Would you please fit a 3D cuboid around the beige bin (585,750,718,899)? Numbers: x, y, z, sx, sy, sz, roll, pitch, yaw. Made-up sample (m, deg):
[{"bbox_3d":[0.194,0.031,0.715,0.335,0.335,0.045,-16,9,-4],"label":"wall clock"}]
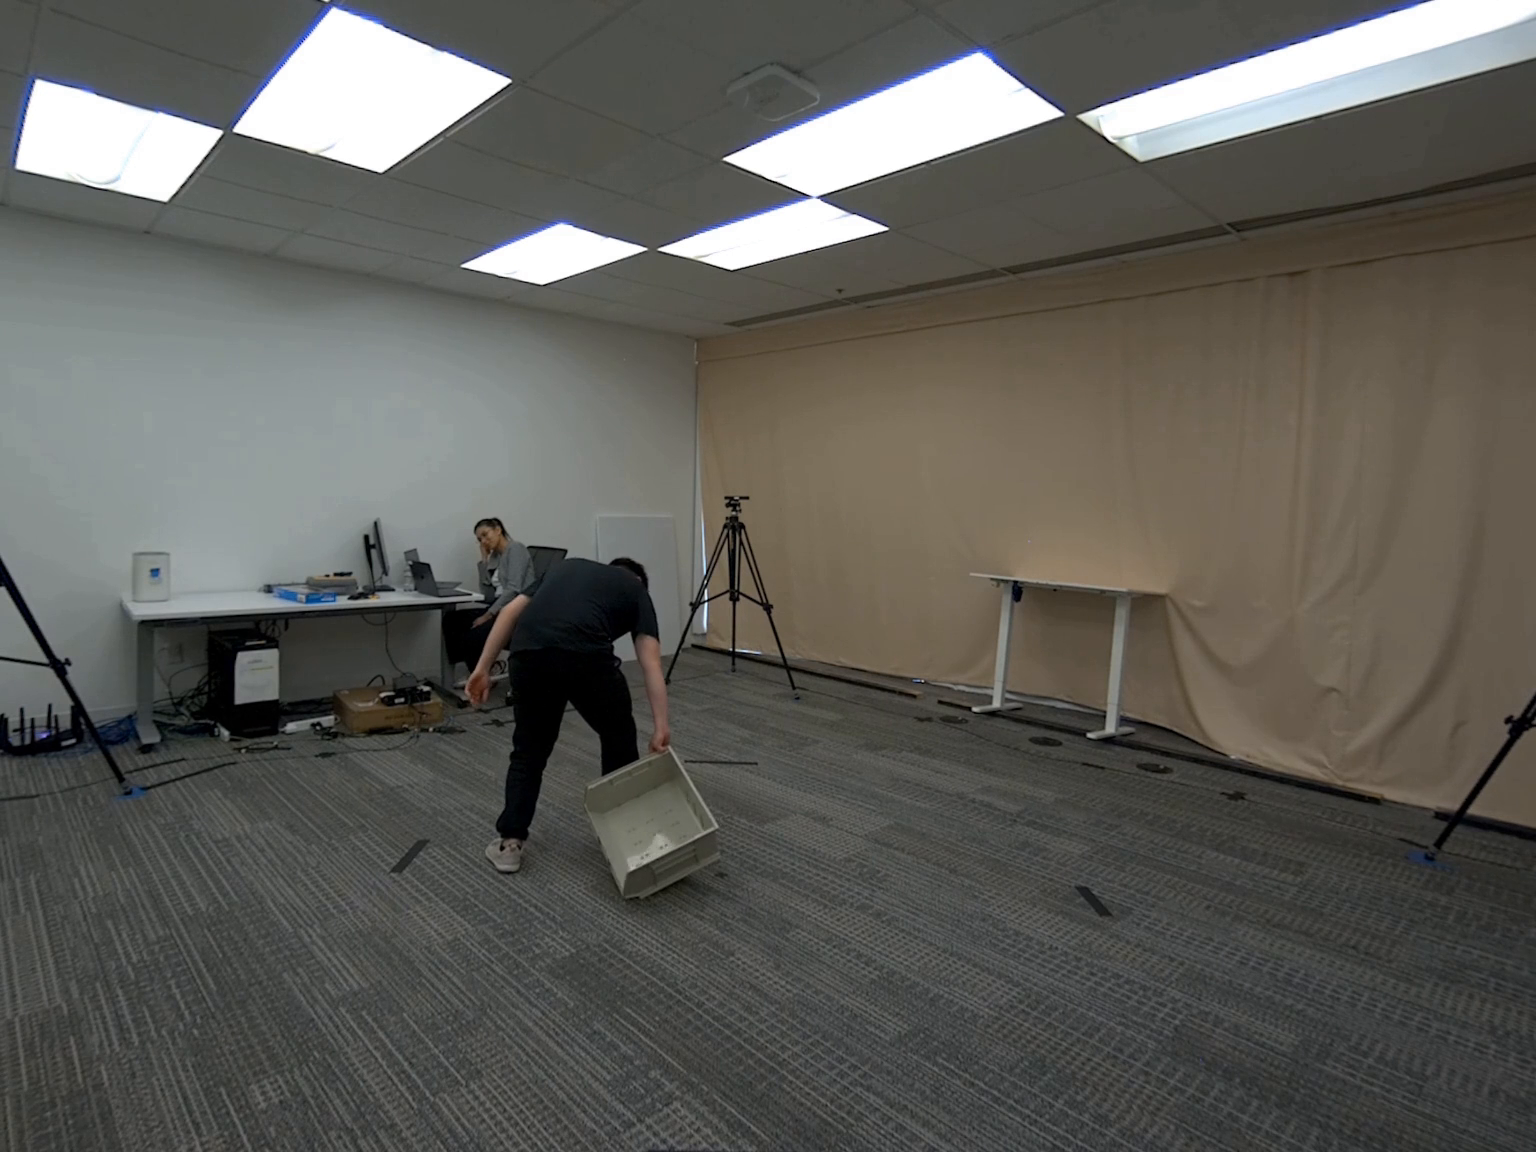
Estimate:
[{"bbox_3d":[-0.435,0.897,3.050,0.374,0.184,0.436,-22,40,-20],"label":"beige bin"}]
